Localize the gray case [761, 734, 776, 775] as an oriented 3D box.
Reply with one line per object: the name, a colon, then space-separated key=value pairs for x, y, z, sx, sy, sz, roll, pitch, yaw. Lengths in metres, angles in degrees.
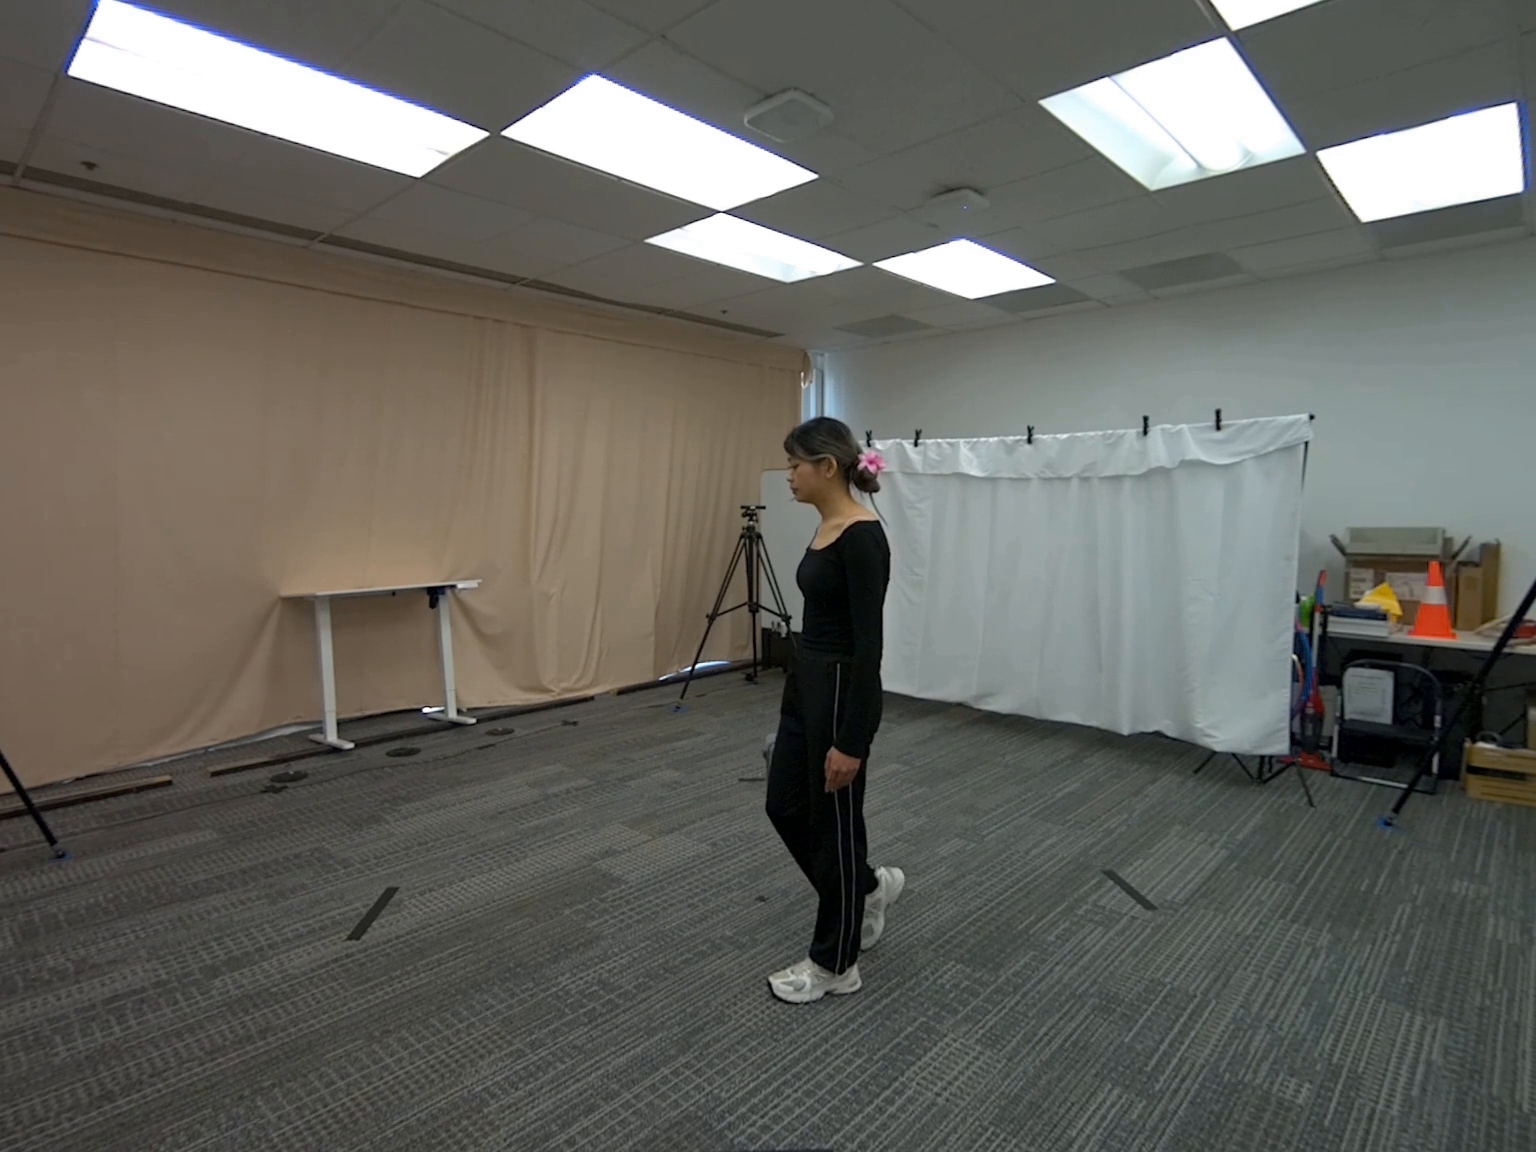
gray case: x=0.121 y=0.621 z=2.691 sx=0.255 sy=0.259 sz=0.106 roll=-2 pitch=11 yaw=-7
